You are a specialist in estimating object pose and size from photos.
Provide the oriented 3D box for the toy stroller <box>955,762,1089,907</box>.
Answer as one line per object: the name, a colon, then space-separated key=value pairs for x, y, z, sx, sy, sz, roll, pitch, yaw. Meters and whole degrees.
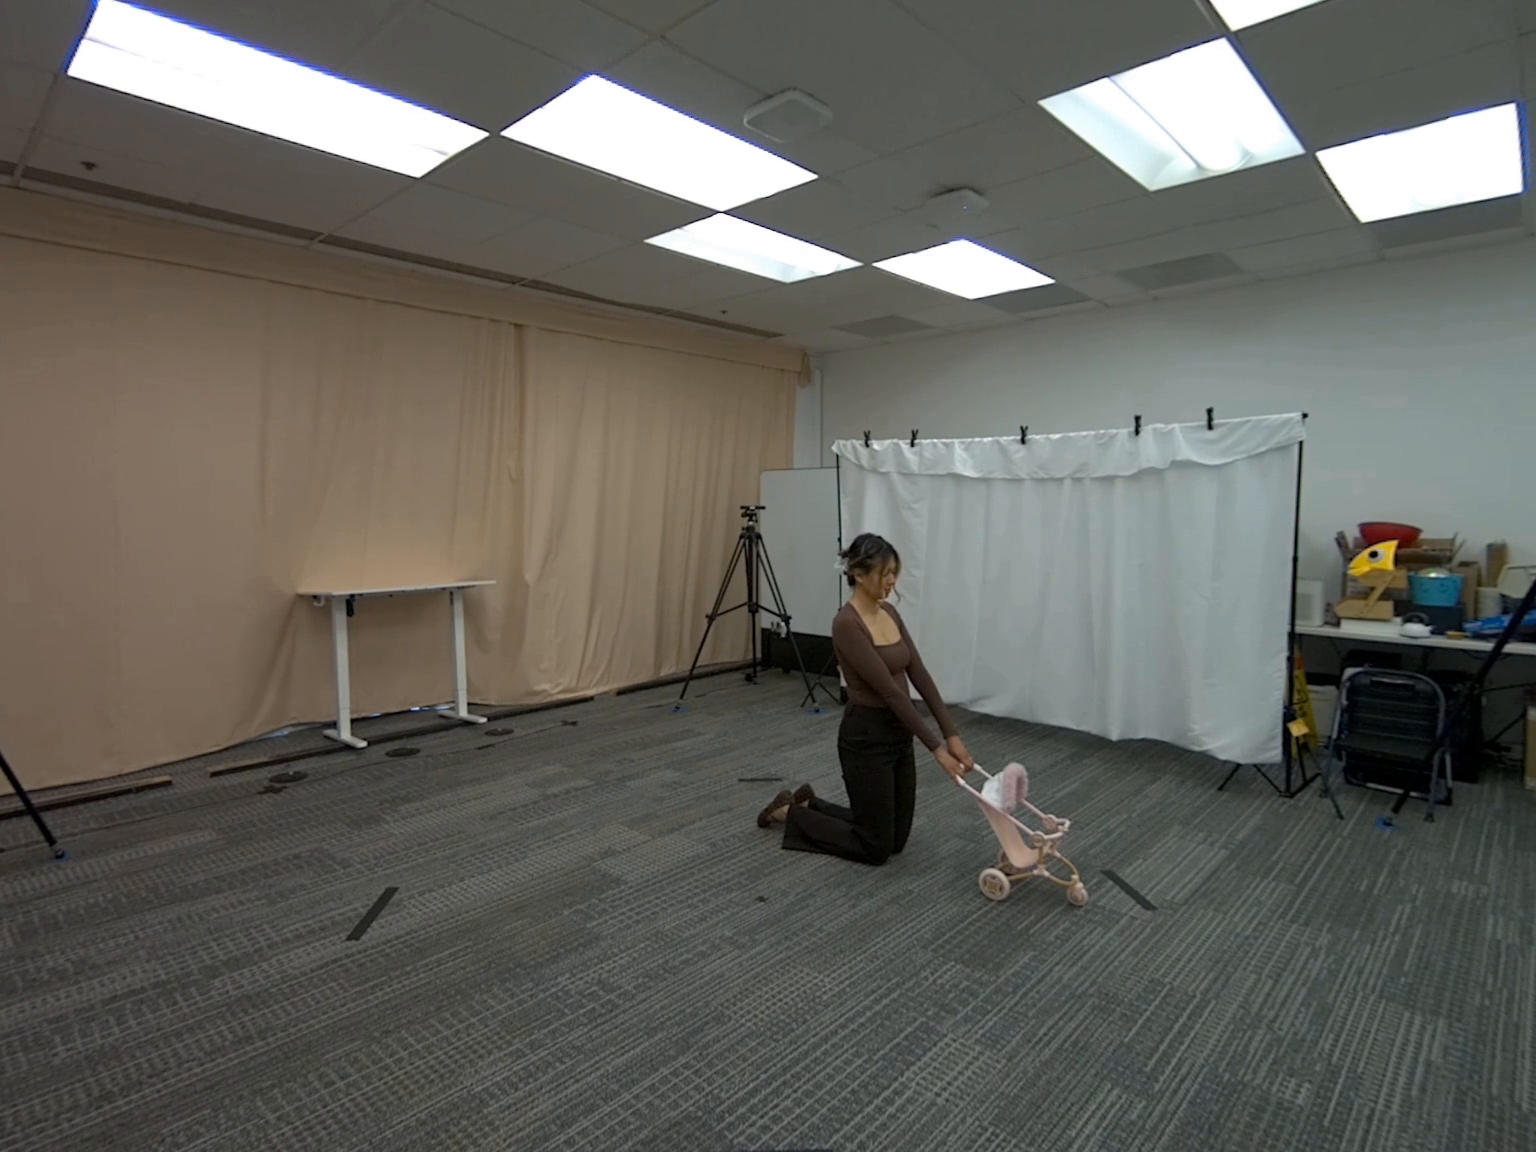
toy stroller: x=0.918 y=0.916 z=3.027 sx=0.349 sy=0.539 sz=0.273 roll=-20 pitch=-9 yaw=36
